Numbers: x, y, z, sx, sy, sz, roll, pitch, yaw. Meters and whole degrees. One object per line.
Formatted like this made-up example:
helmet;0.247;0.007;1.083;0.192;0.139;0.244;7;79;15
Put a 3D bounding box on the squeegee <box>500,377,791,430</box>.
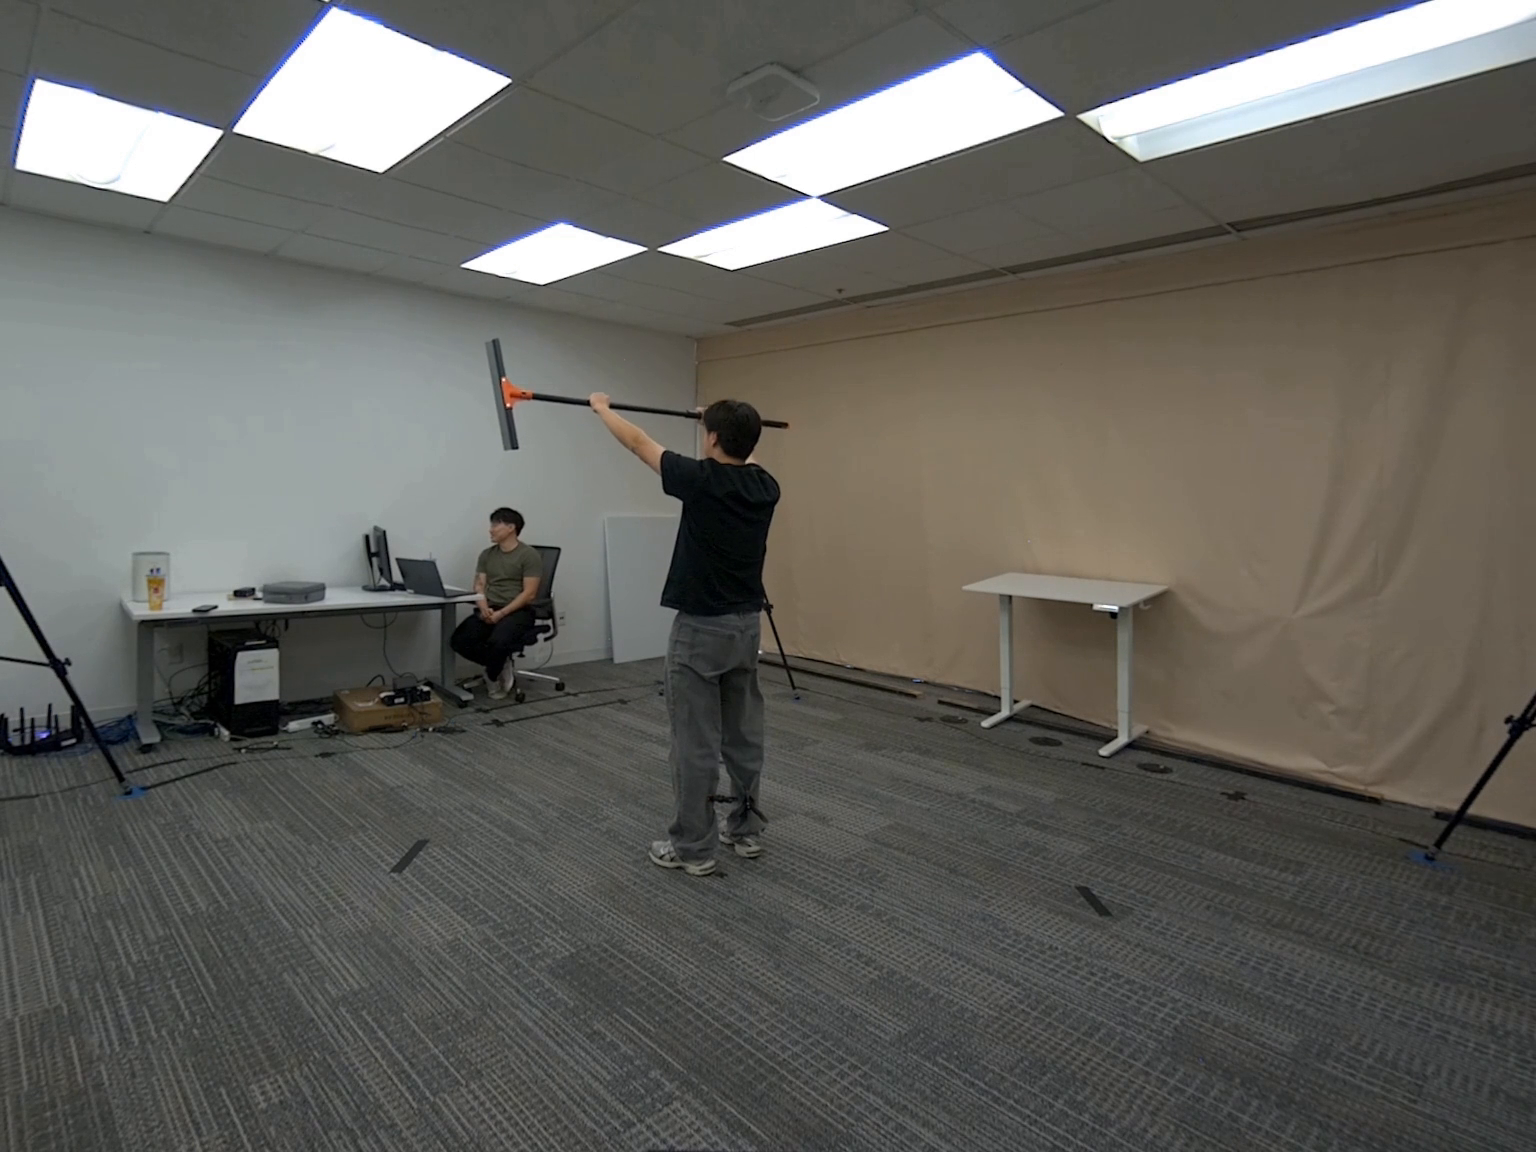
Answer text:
squeegee;-0.448;-0.688;3.561;1.502;0.443;0.053;-3;-19;-43
